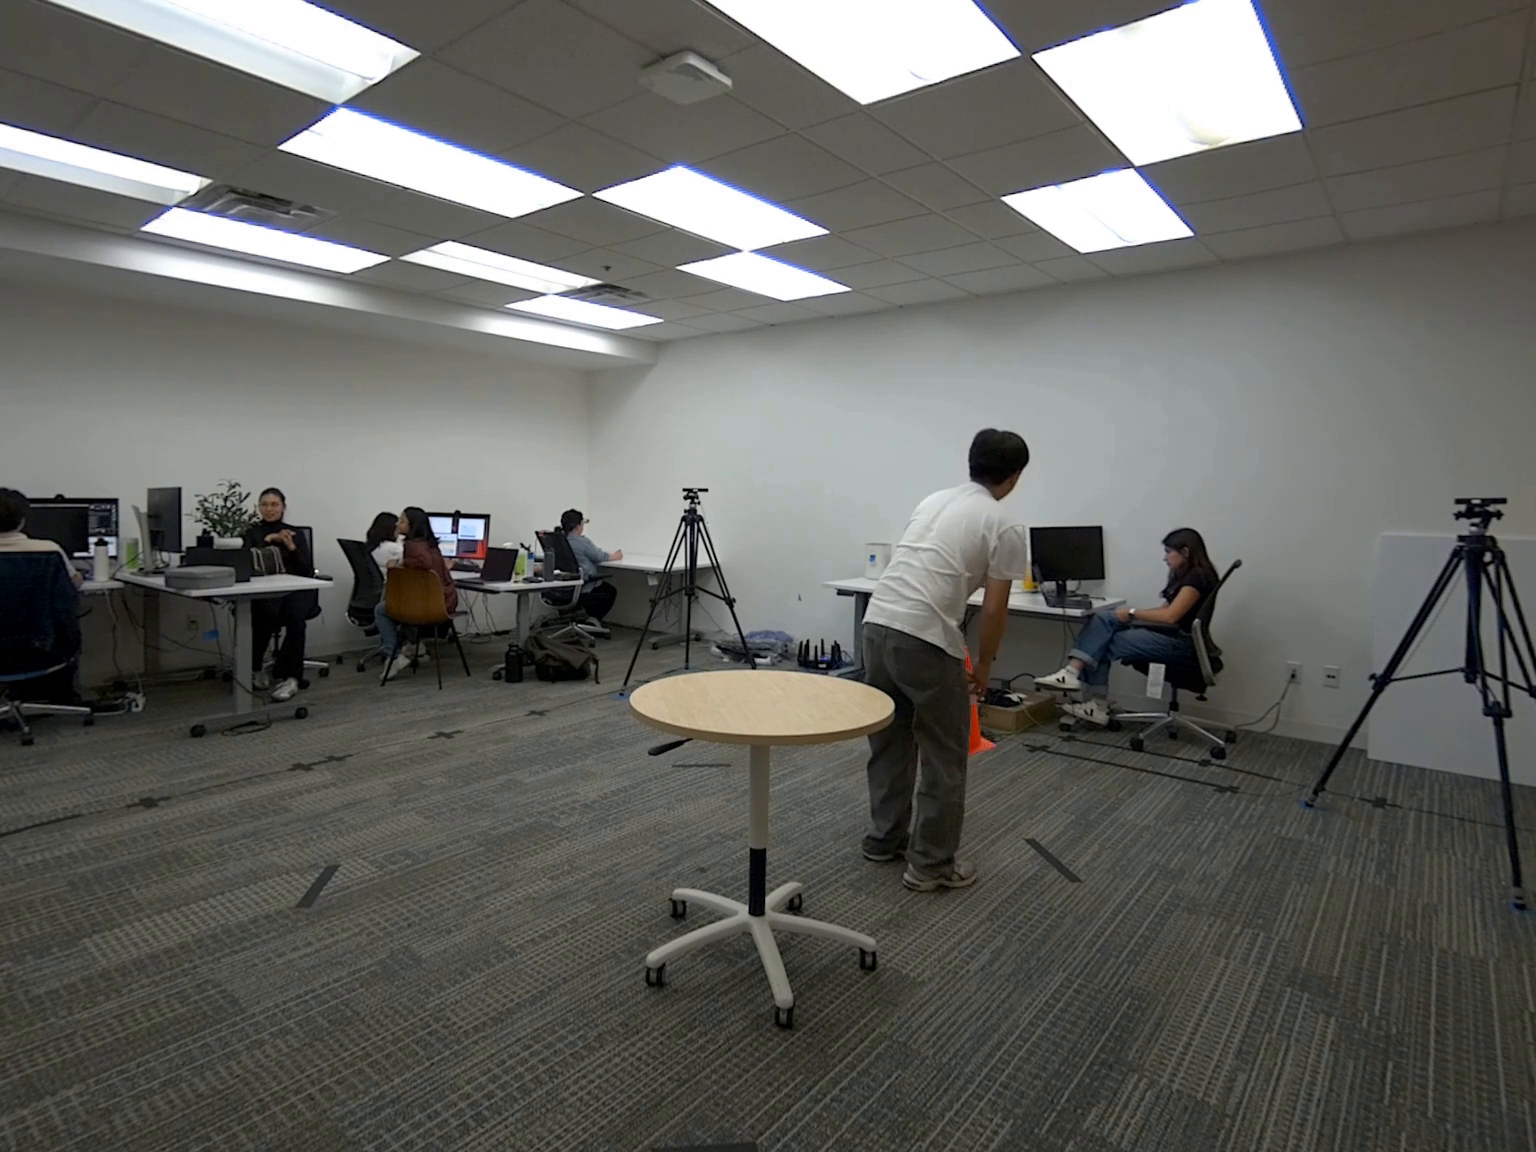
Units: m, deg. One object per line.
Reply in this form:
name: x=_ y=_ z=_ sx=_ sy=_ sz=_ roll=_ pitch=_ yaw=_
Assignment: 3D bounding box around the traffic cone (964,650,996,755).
traffic cone: x=0.746 y=0.452 z=3.209 sx=0.200 sy=0.379 sz=0.211 roll=-6 pitch=14 yaw=-32
